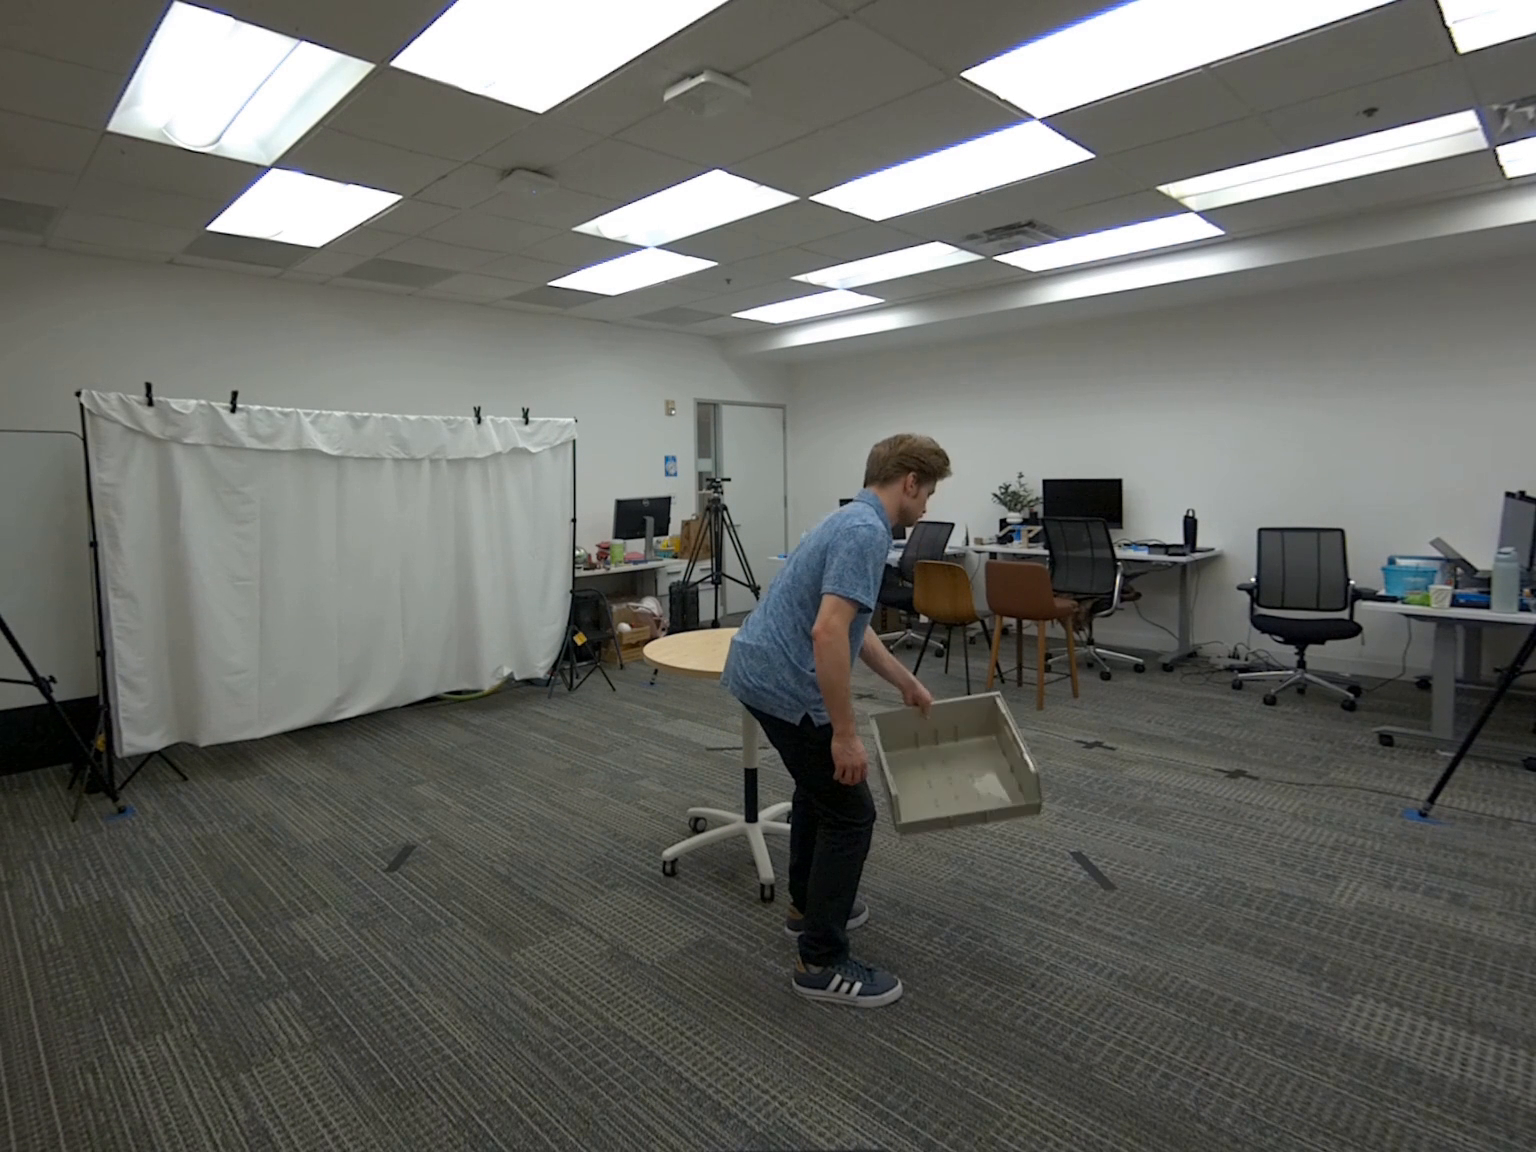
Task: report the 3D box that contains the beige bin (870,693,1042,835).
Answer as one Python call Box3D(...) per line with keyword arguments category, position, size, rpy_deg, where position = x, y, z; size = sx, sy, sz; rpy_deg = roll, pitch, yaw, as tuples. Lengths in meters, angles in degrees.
Box3D(category="beige bin", position=(0.558, 0.579, 2.586), size=(0.423, 0.184, 0.387), rpy_deg=(-10, 31, 2))
